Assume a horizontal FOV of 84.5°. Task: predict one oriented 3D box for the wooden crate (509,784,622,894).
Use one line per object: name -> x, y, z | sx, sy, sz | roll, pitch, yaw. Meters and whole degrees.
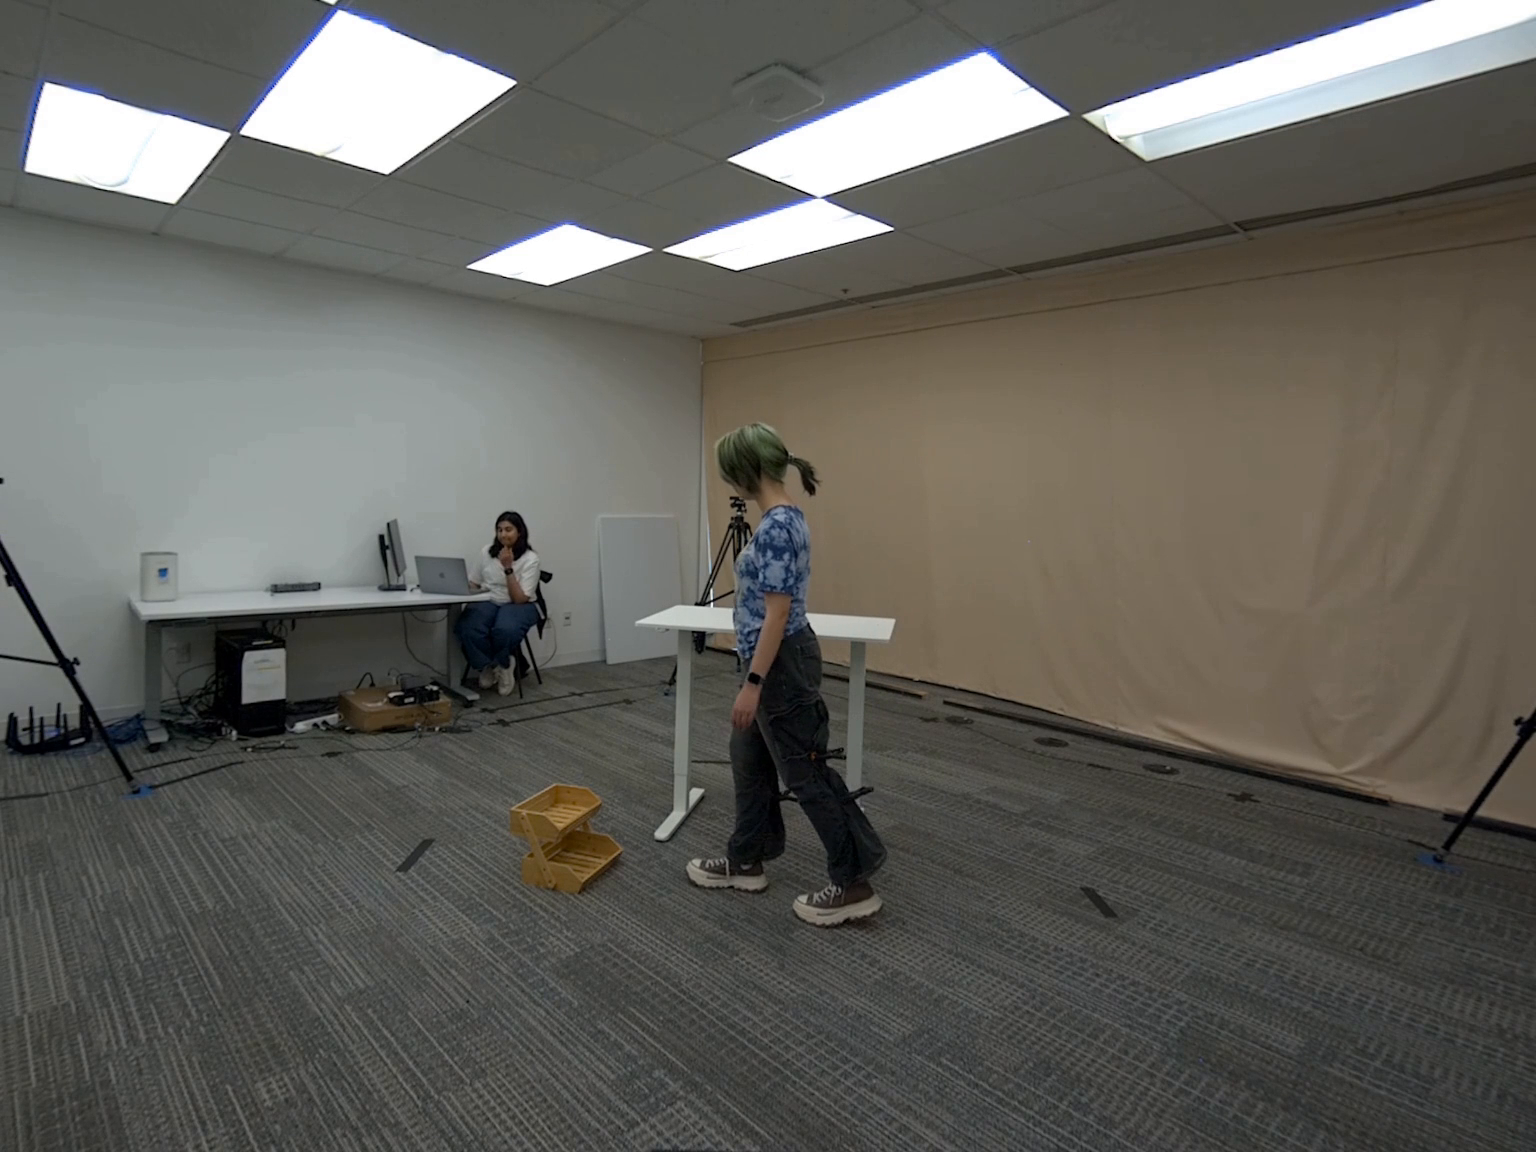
wooden crate -> -0.745, 0.959, 3.110 | 0.307, 0.272, 0.320 | 3, 5, 19
